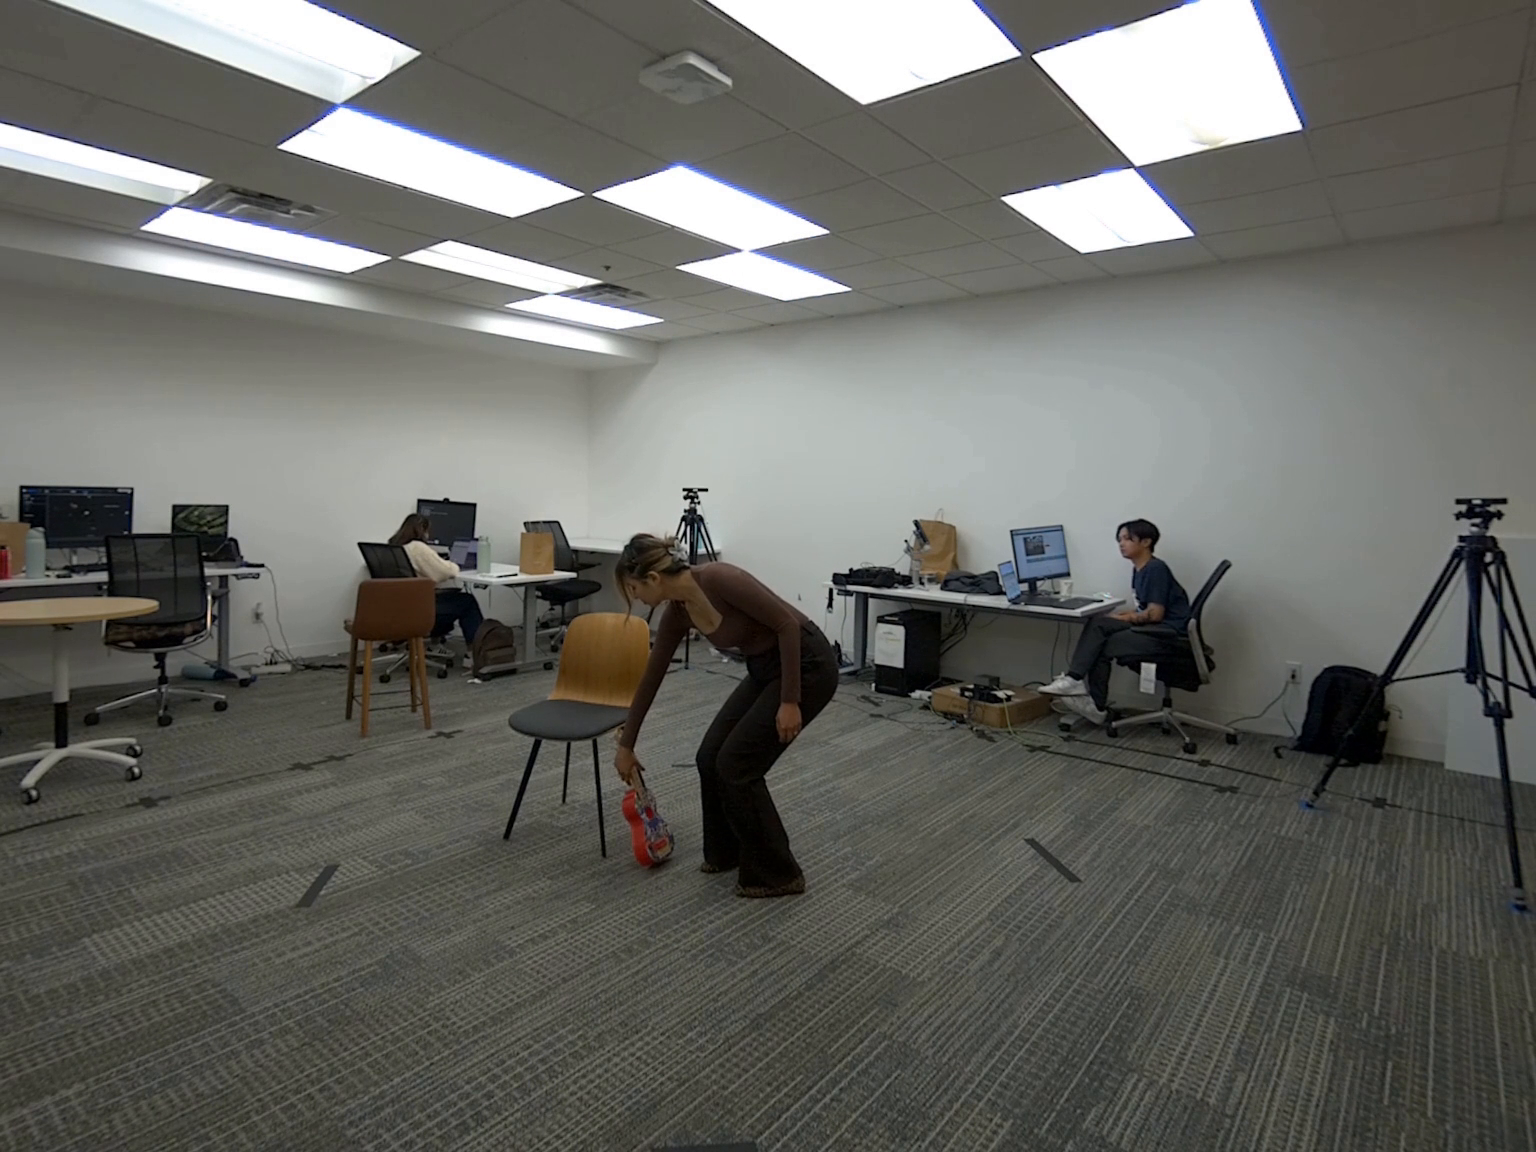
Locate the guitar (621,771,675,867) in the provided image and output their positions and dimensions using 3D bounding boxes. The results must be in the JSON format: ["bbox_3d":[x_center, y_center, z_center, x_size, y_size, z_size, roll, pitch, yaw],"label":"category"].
[{"bbox_3d":[-0.494,0.831,3.207,0.071,0.507,0.187,-27,-16,22],"label":"guitar"}]
